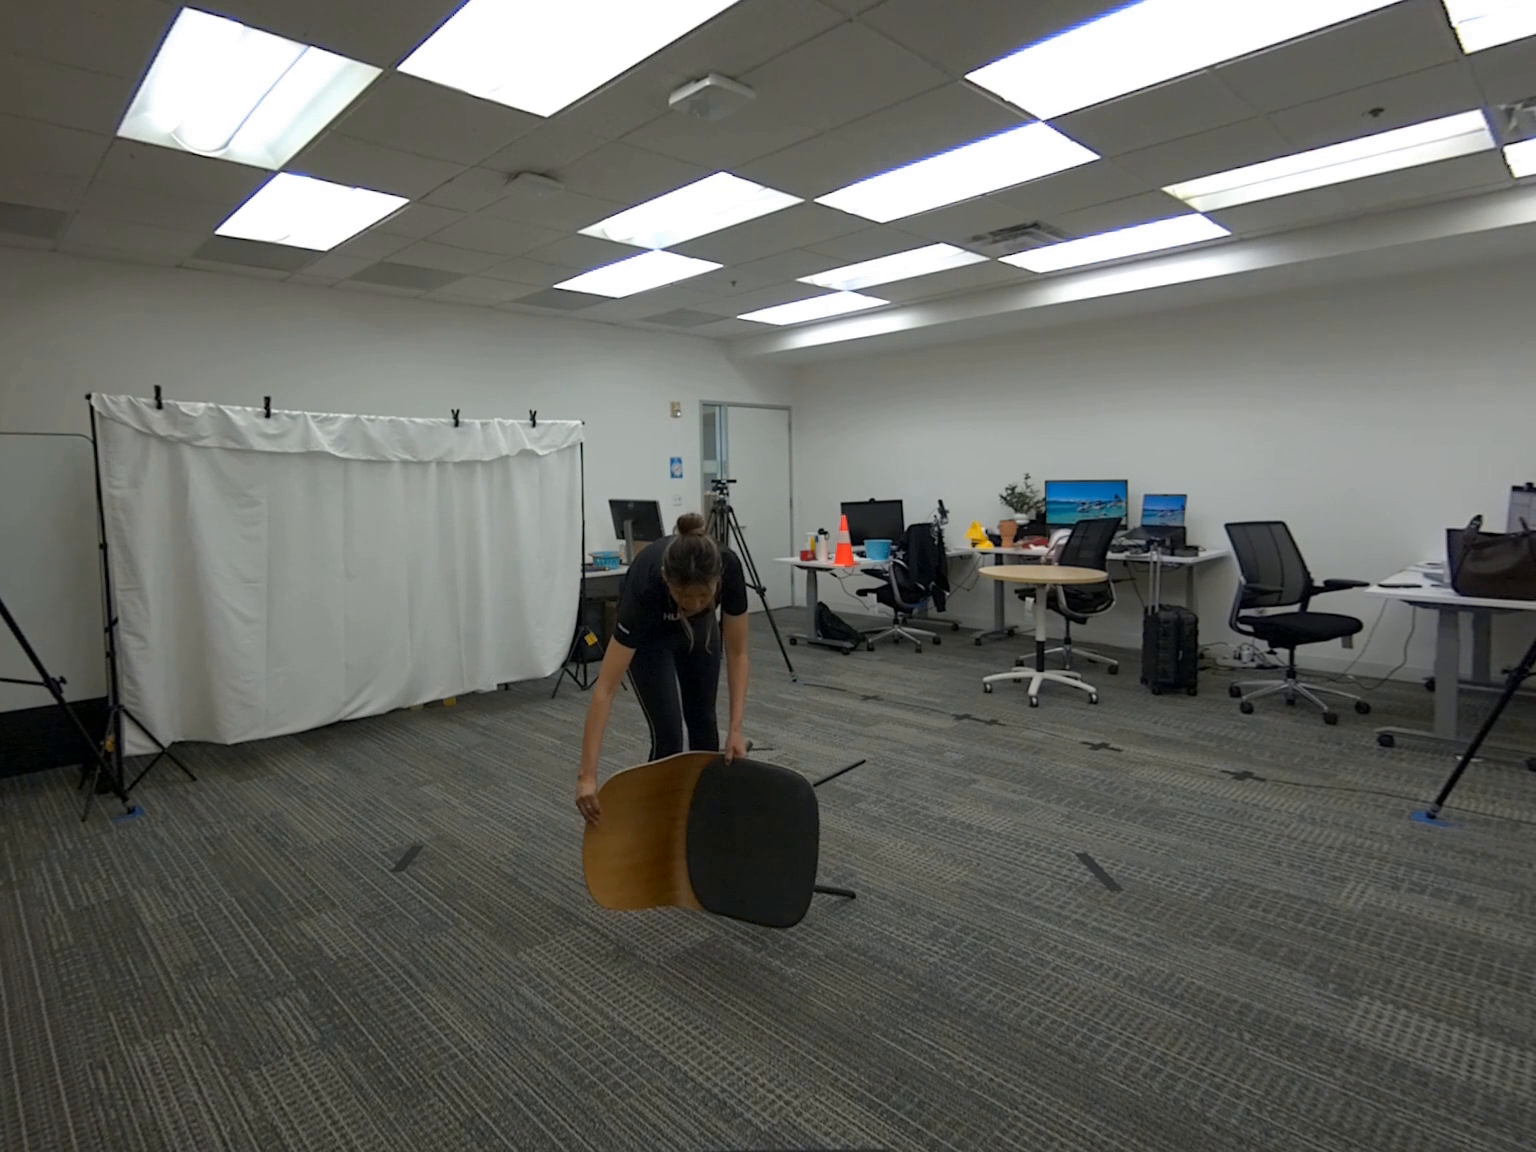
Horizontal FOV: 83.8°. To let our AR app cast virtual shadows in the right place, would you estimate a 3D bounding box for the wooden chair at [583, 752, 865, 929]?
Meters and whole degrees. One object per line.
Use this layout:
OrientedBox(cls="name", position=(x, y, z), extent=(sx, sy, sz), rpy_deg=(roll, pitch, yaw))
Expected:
OrientedBox(cls="wooden chair", position=(-0.072, 0.797, 2.620), extent=(0.538, 0.480, 0.849), rpy_deg=(2, -5, 33))
